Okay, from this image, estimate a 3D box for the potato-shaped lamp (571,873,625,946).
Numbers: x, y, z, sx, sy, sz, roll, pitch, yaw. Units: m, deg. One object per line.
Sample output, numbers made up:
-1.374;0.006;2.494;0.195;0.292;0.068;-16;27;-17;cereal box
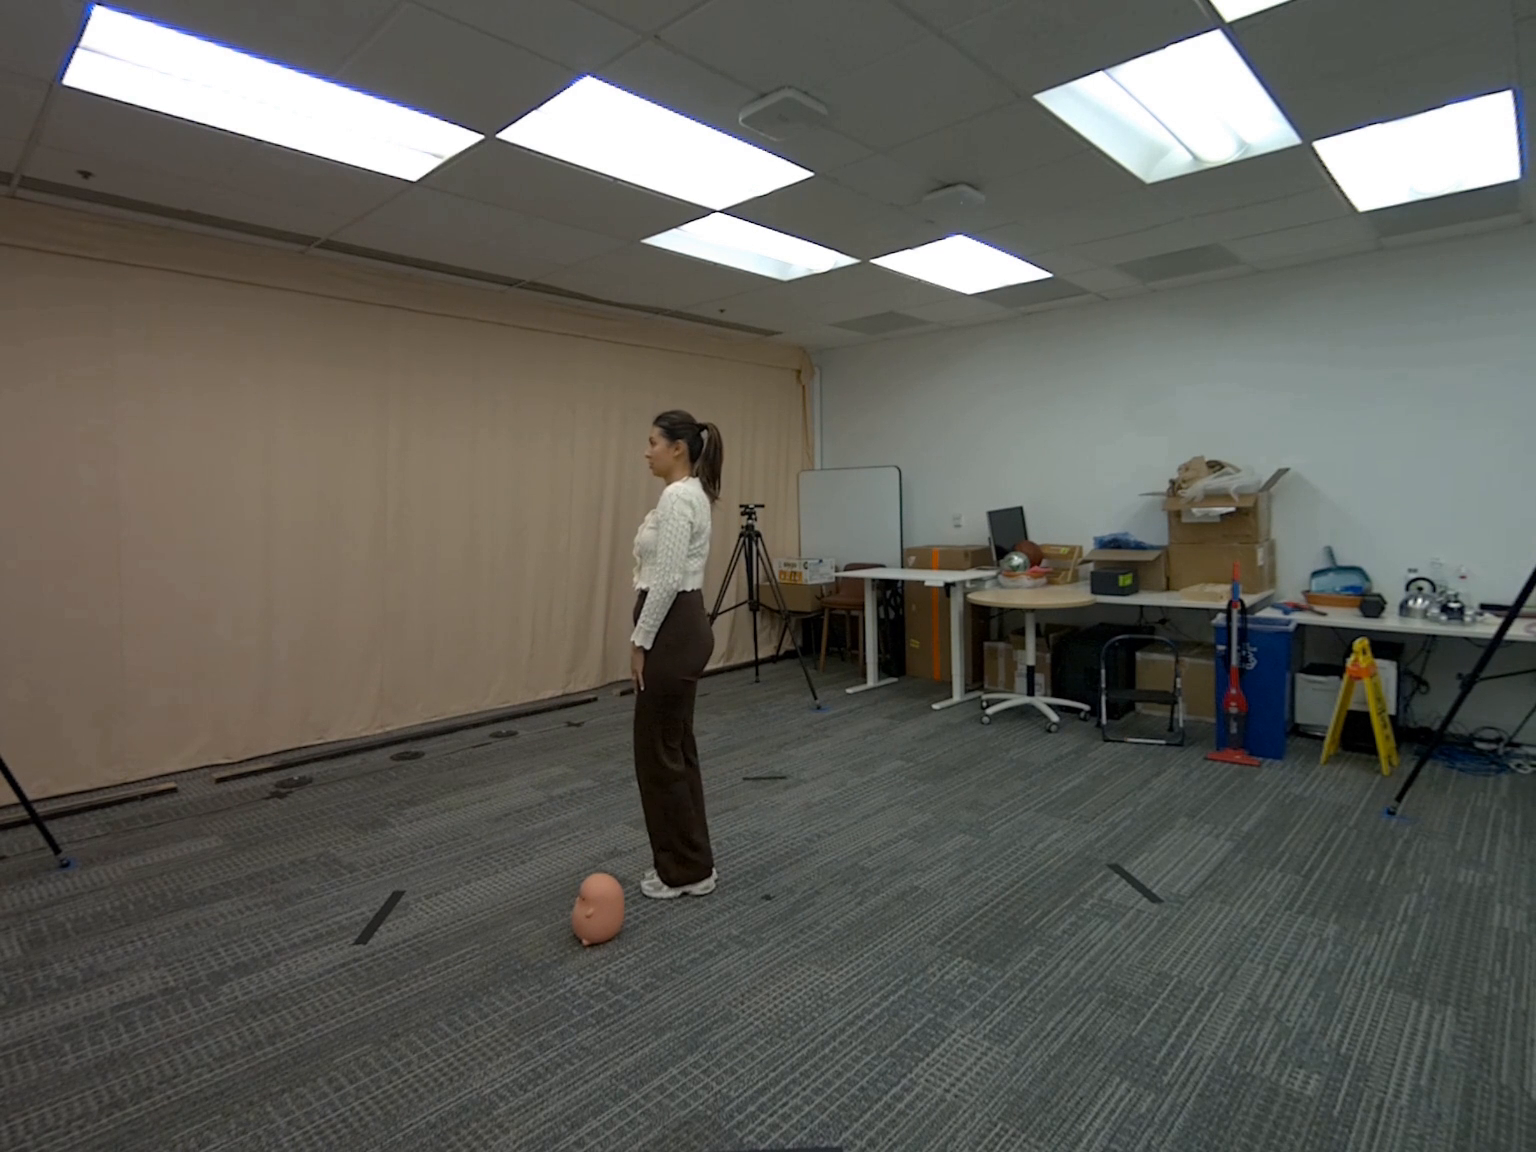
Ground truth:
-0.555;1.068;2.740;0.167;0.198;0.169;0;1;-24;potato-shaped lamp
